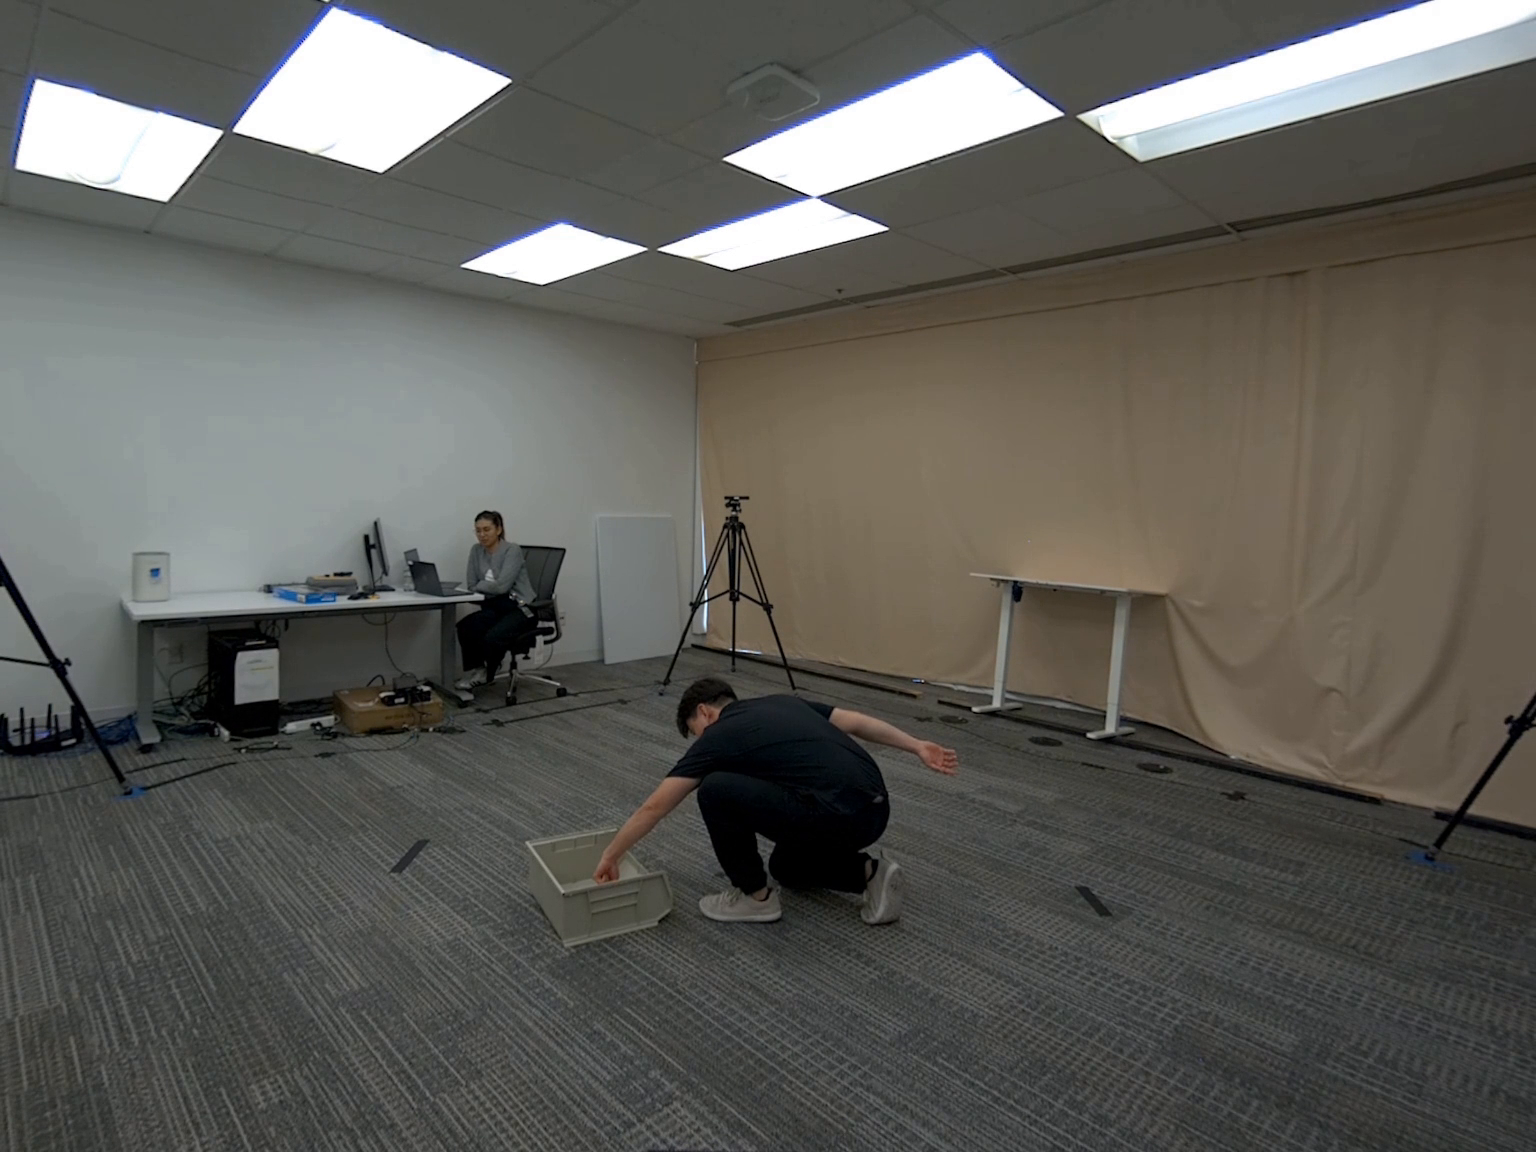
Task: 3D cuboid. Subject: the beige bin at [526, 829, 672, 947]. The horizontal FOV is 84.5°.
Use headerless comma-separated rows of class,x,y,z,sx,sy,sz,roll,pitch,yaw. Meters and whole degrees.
beige bin,-0.576,1.024,2.840,0.370,0.188,0.432,-2,7,-30
